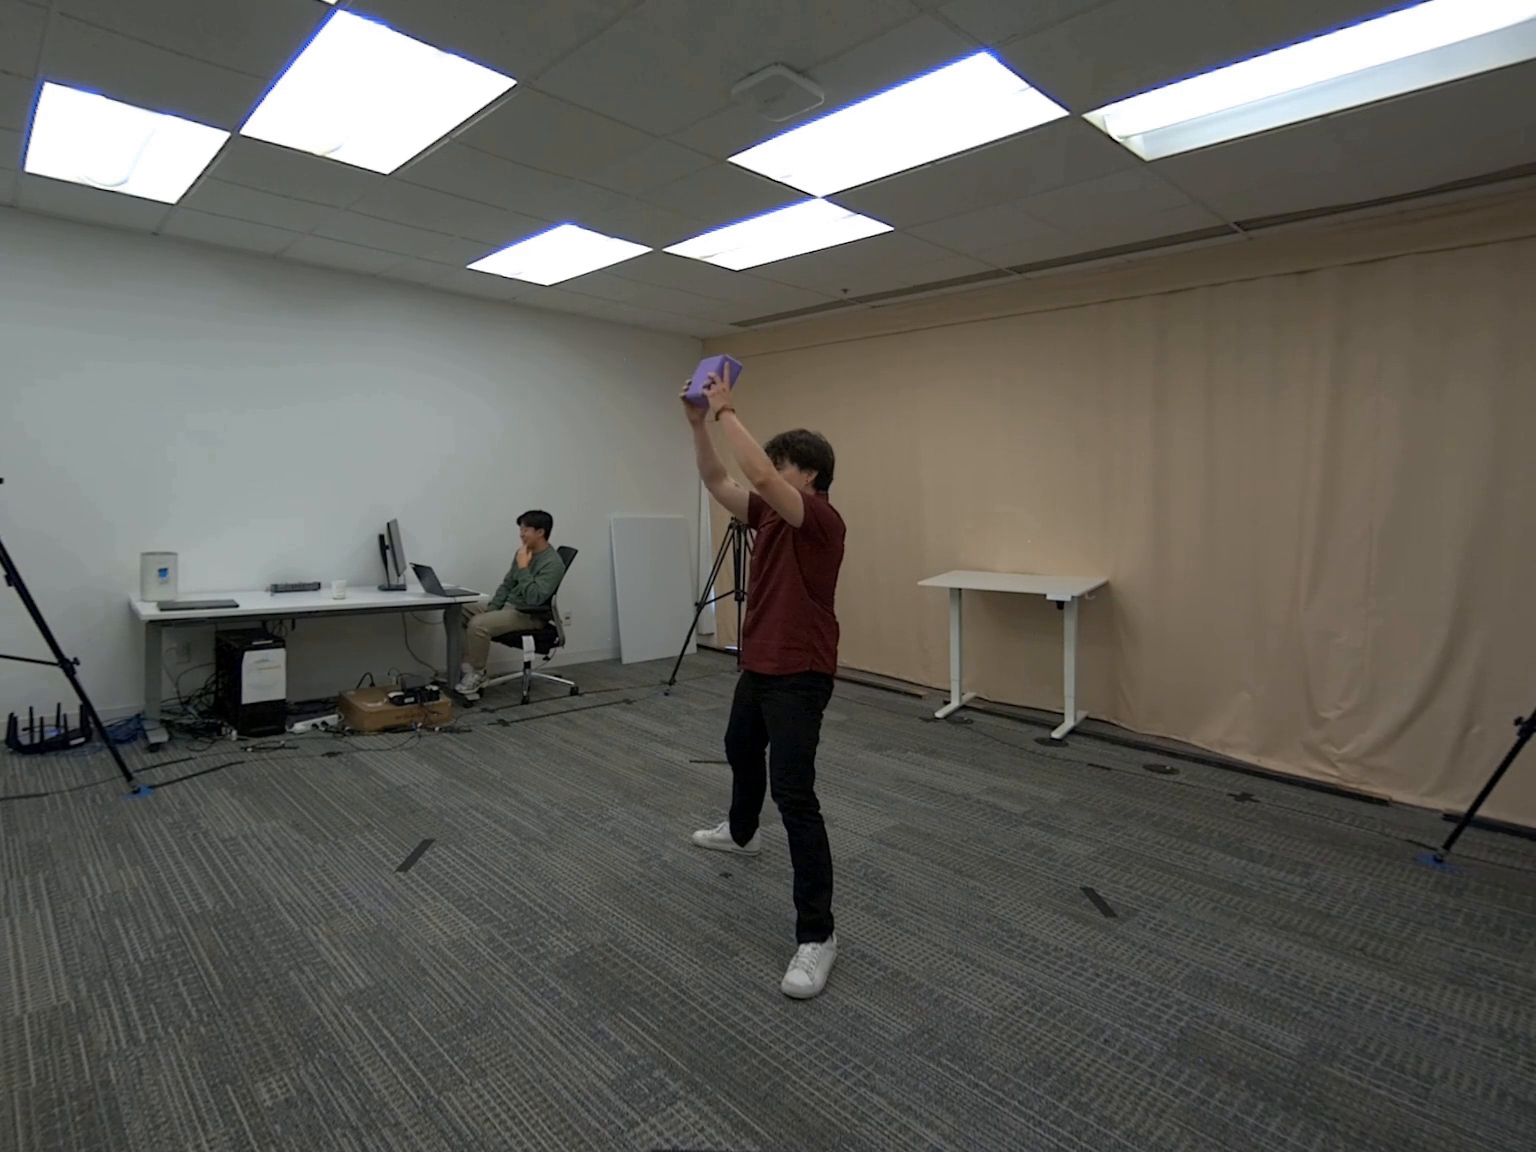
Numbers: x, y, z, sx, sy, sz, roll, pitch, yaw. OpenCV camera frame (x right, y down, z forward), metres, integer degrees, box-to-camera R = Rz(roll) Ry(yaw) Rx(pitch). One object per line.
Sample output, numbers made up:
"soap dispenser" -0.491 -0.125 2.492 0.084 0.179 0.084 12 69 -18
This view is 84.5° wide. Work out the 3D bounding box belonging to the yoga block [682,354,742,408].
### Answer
"yoga block" -0.193 -0.625 2.736 0.075 0.149 0.234 28 -2 -23
